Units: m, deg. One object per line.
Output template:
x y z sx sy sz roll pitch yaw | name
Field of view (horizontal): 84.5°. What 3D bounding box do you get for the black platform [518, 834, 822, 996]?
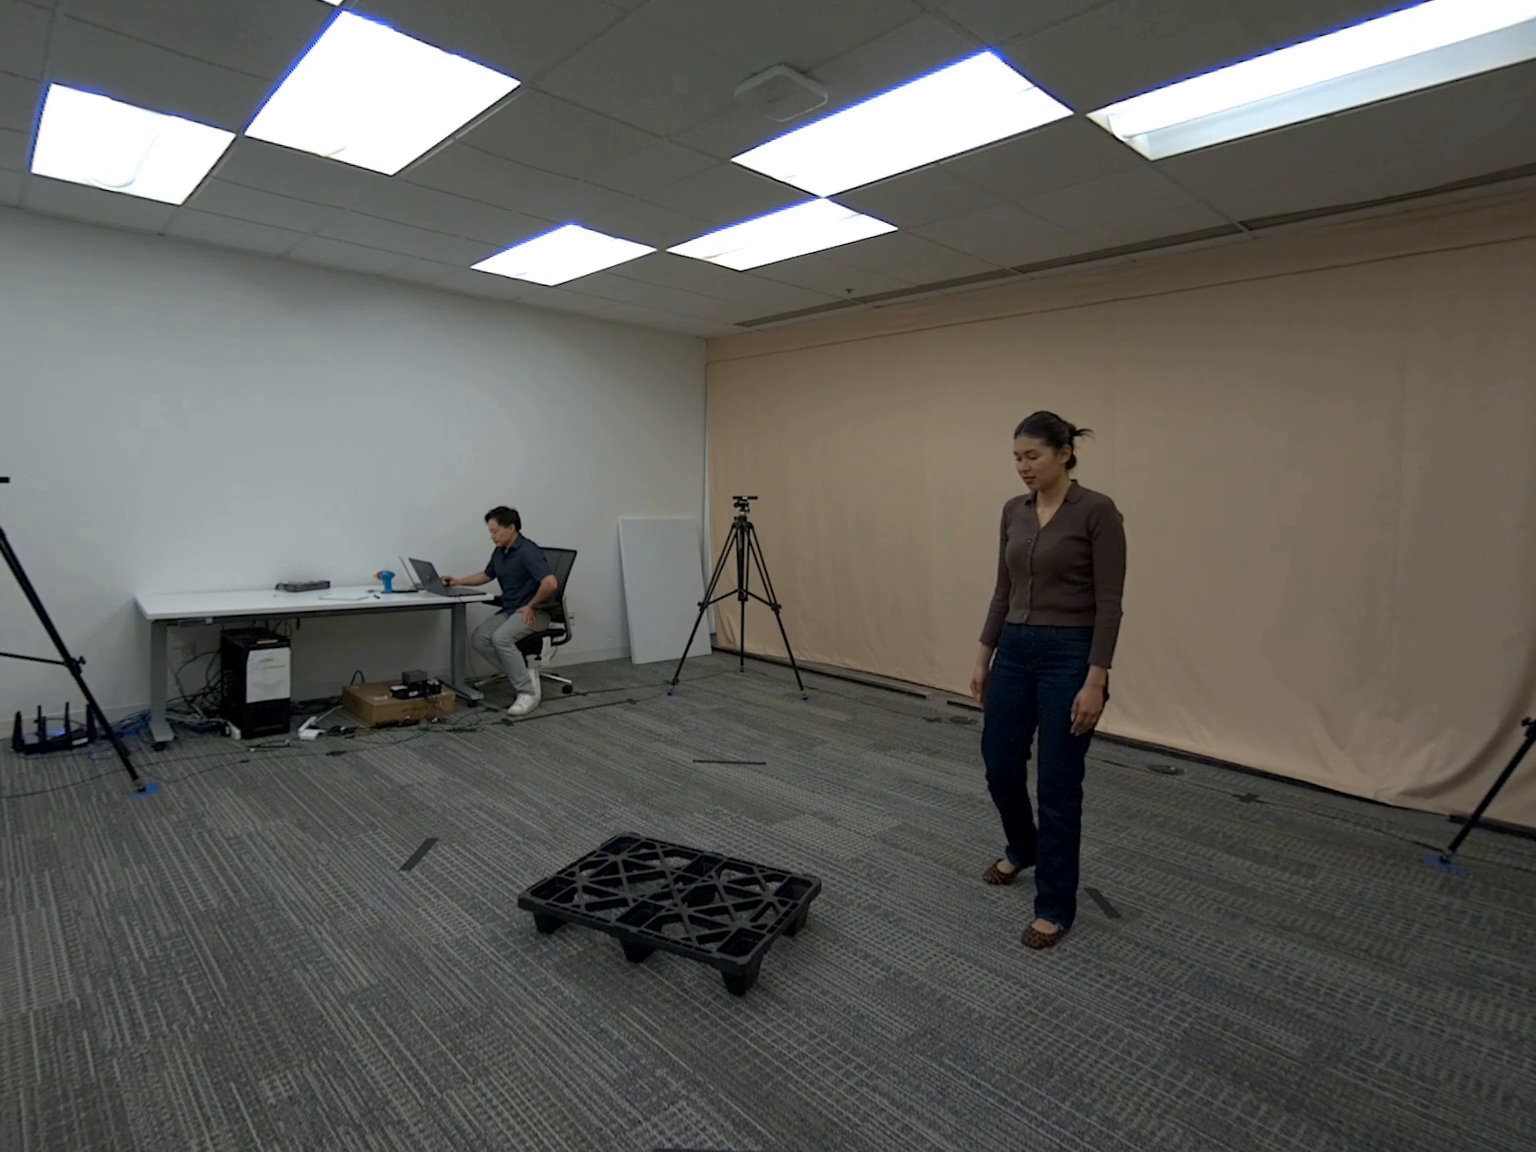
-0.306 1.065 2.707 0.822 0.143 0.595 3 6 26 | black platform
